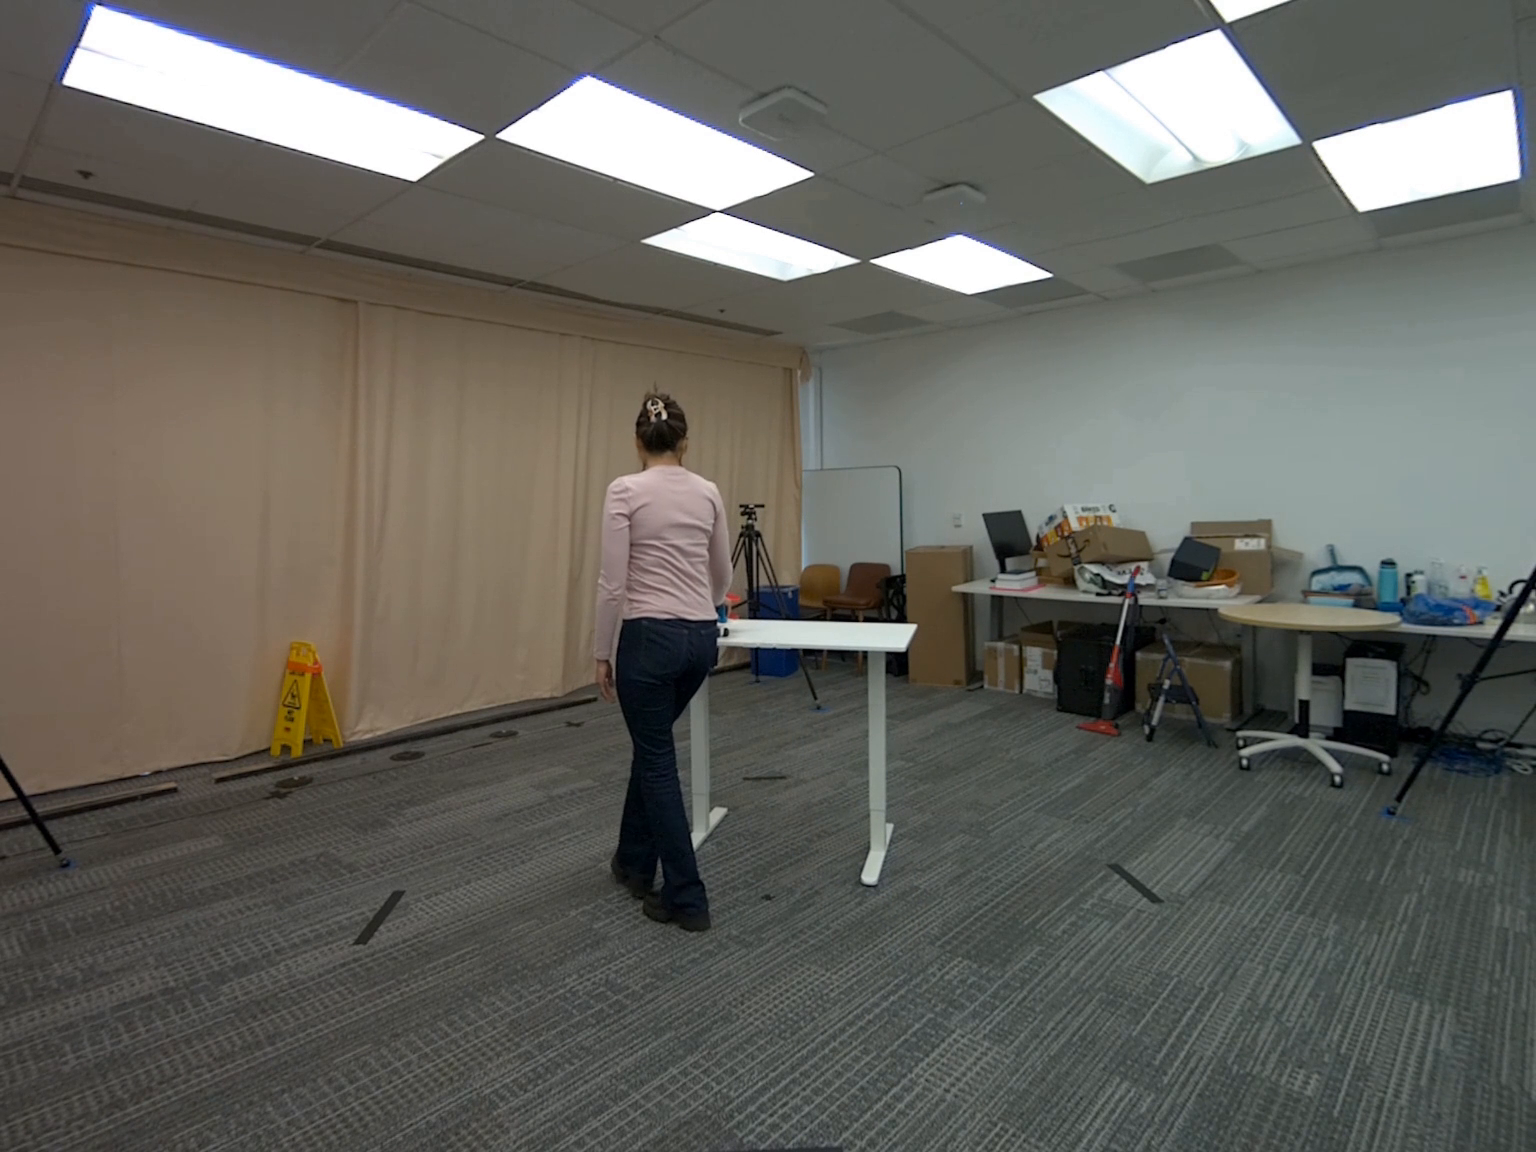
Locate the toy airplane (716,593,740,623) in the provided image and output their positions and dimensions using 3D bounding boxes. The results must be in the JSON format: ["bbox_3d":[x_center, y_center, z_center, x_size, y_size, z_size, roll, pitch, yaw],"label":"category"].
[{"bbox_3d":[-0.210,0.153,3.356,0.267,0.156,0.244,2,7,39],"label":"toy airplane"}]
